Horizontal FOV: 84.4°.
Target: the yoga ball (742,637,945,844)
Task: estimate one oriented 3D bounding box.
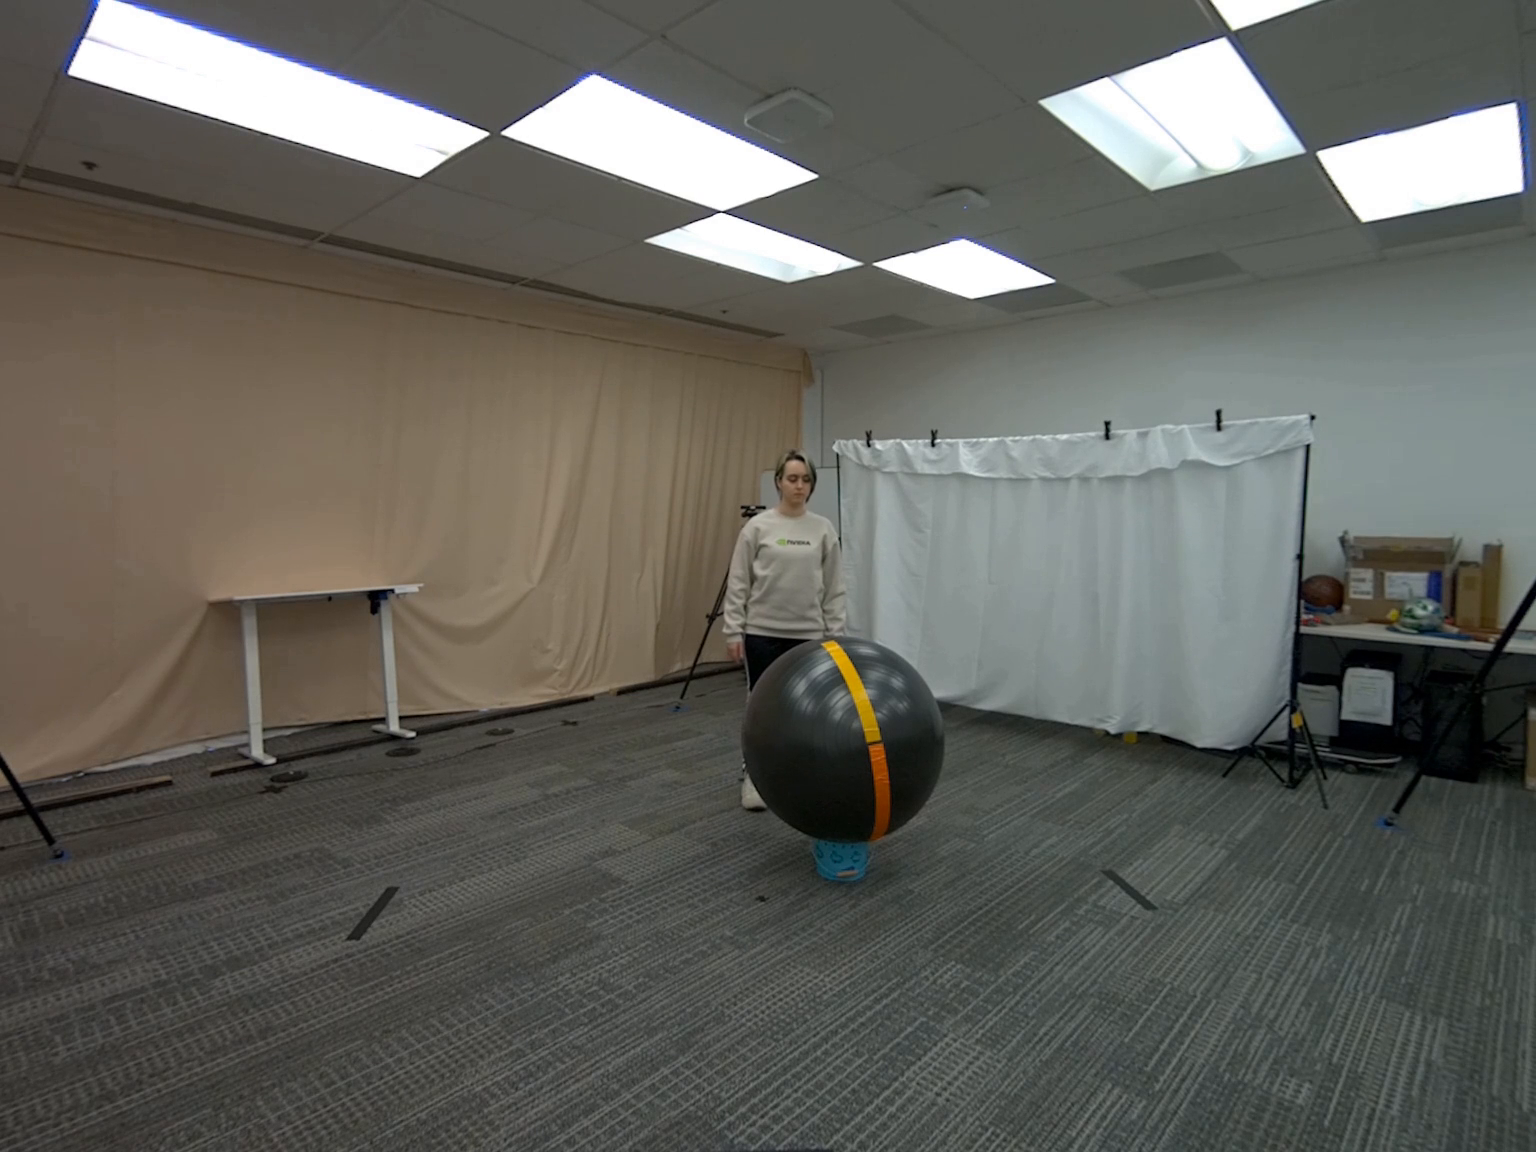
[{"bbox_3d":[0.285,0.614,3.184,0.757,0.756,0.760,0,4,-2],"label":"yoga ball"}]
